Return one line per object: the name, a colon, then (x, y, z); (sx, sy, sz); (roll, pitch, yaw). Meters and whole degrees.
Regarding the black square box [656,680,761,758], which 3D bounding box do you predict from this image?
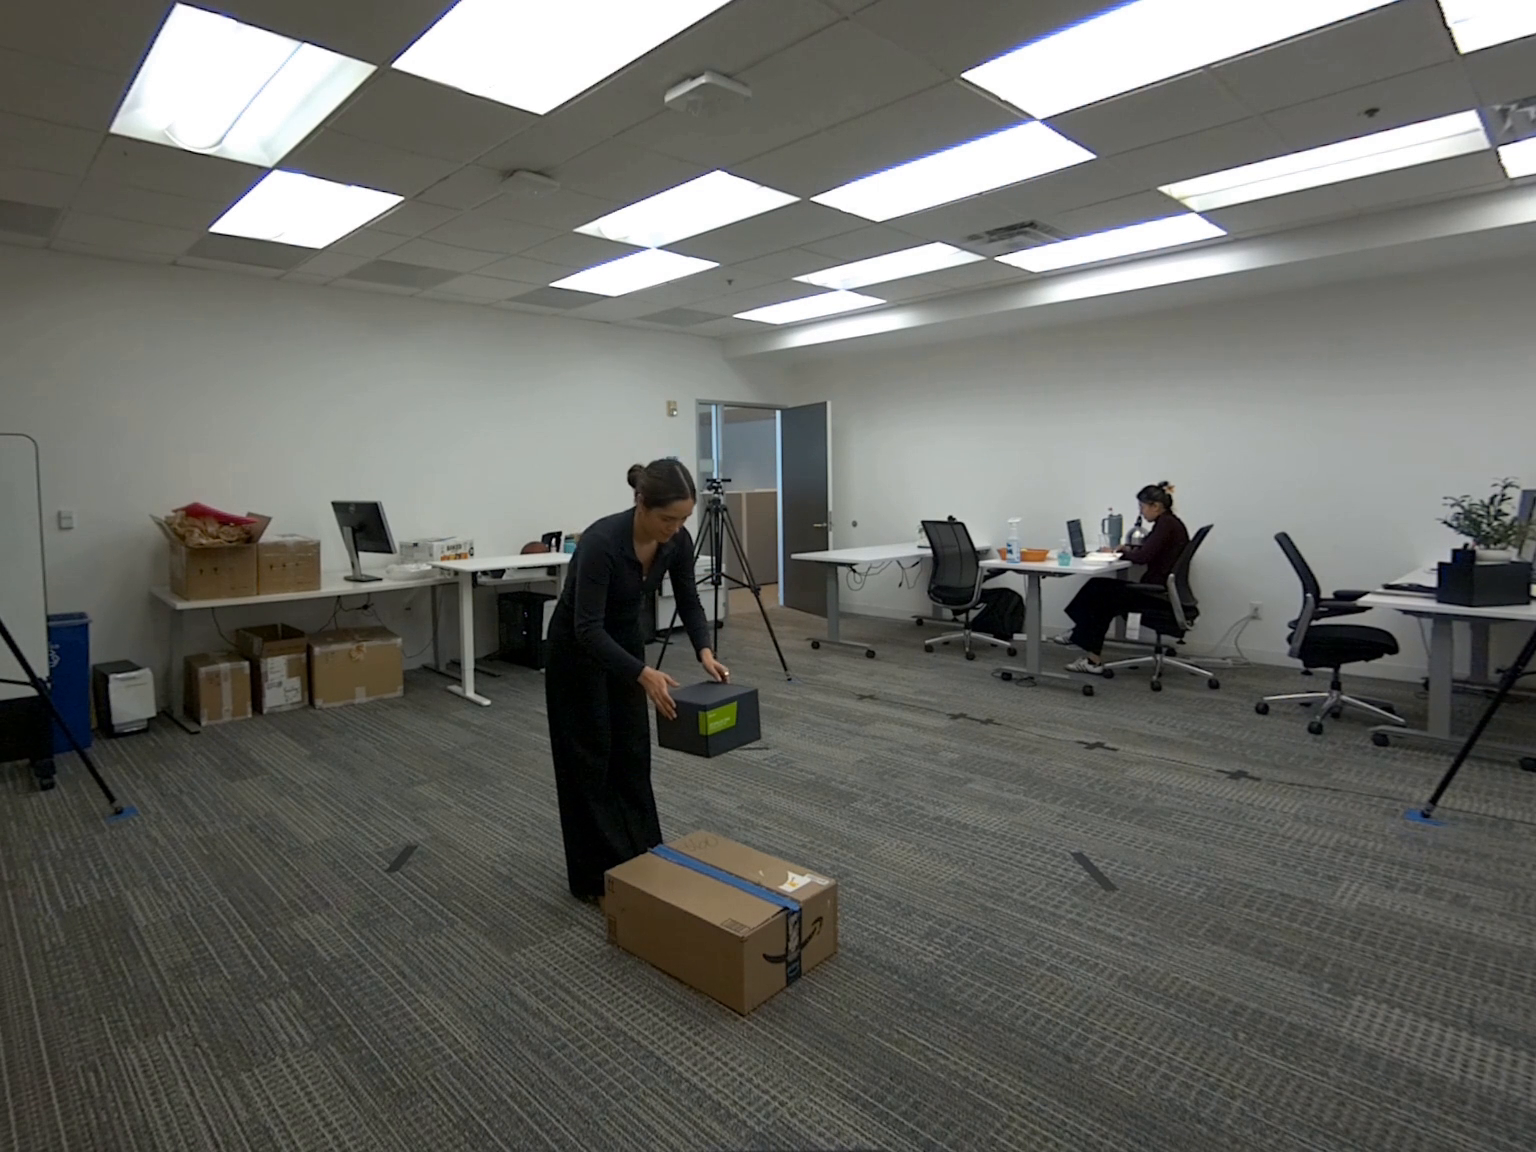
black square box: (-0.180, 0.424, 2.536); (0.223, 0.155, 0.222); (1, 6, 42)
